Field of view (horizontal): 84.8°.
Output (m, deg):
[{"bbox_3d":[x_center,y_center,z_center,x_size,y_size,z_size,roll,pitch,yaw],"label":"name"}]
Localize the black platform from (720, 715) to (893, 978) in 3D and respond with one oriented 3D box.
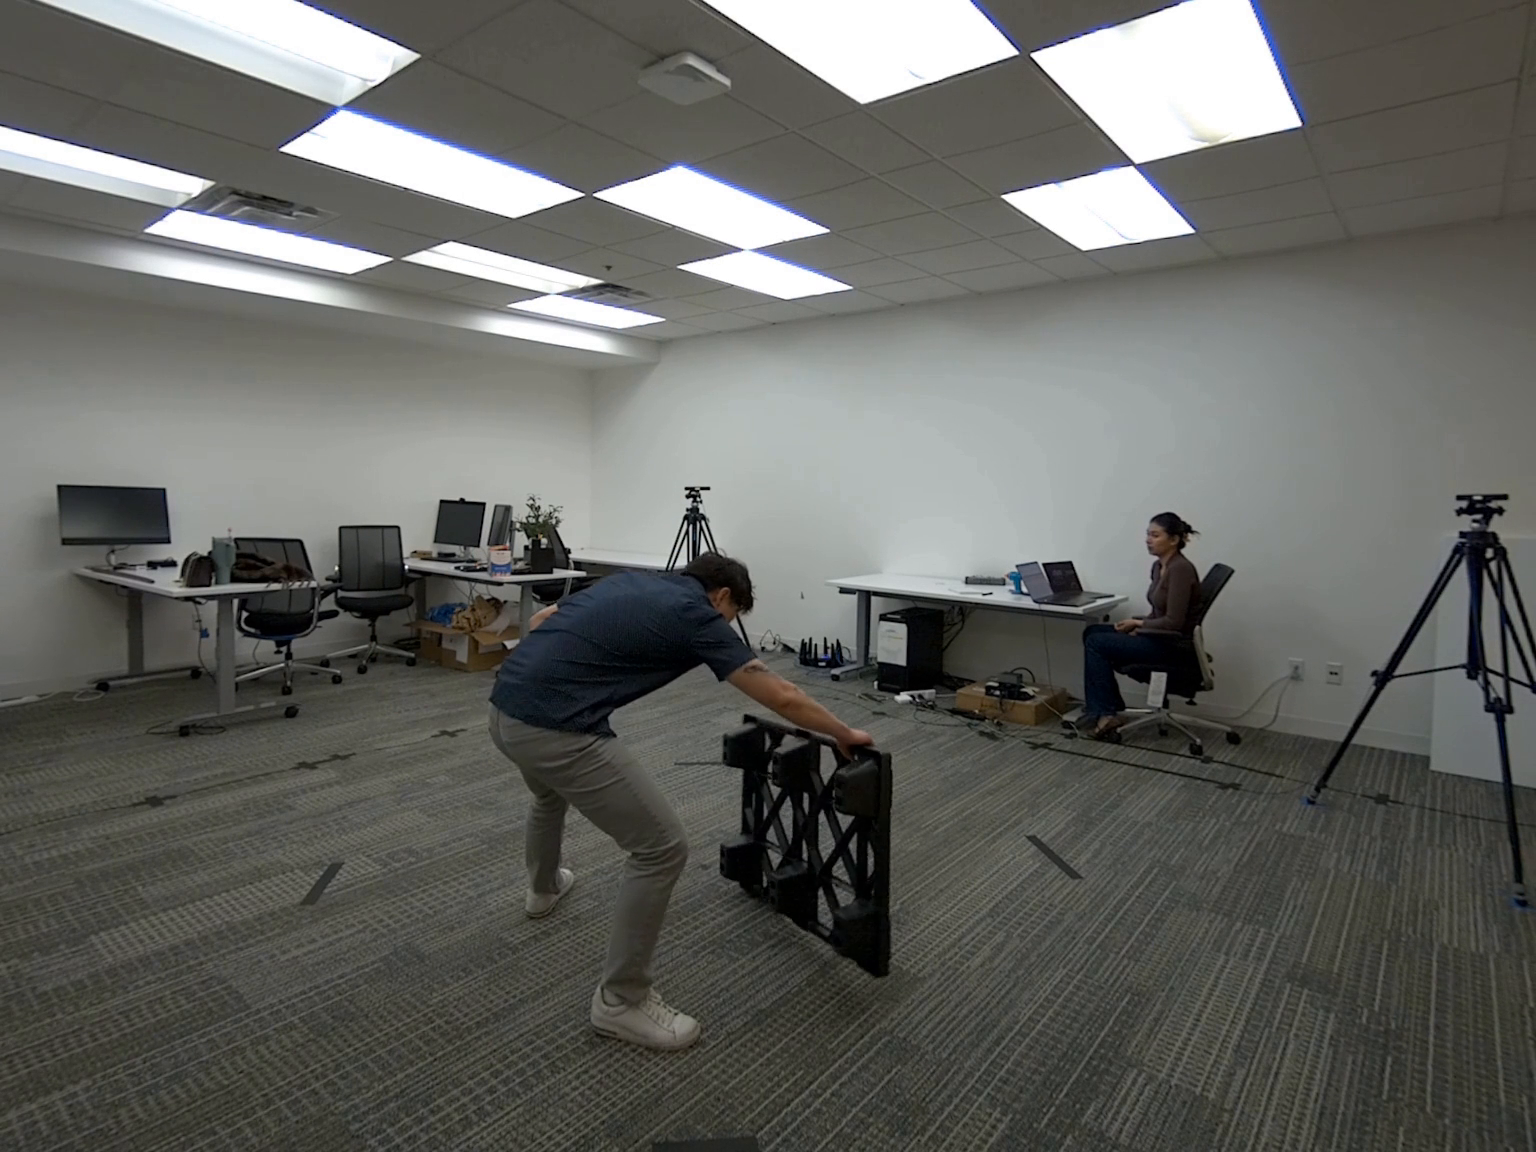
[{"bbox_3d":[0.070,0.782,2.621,0.139,0.607,0.825,3,-3,-29],"label":"black platform"}]
